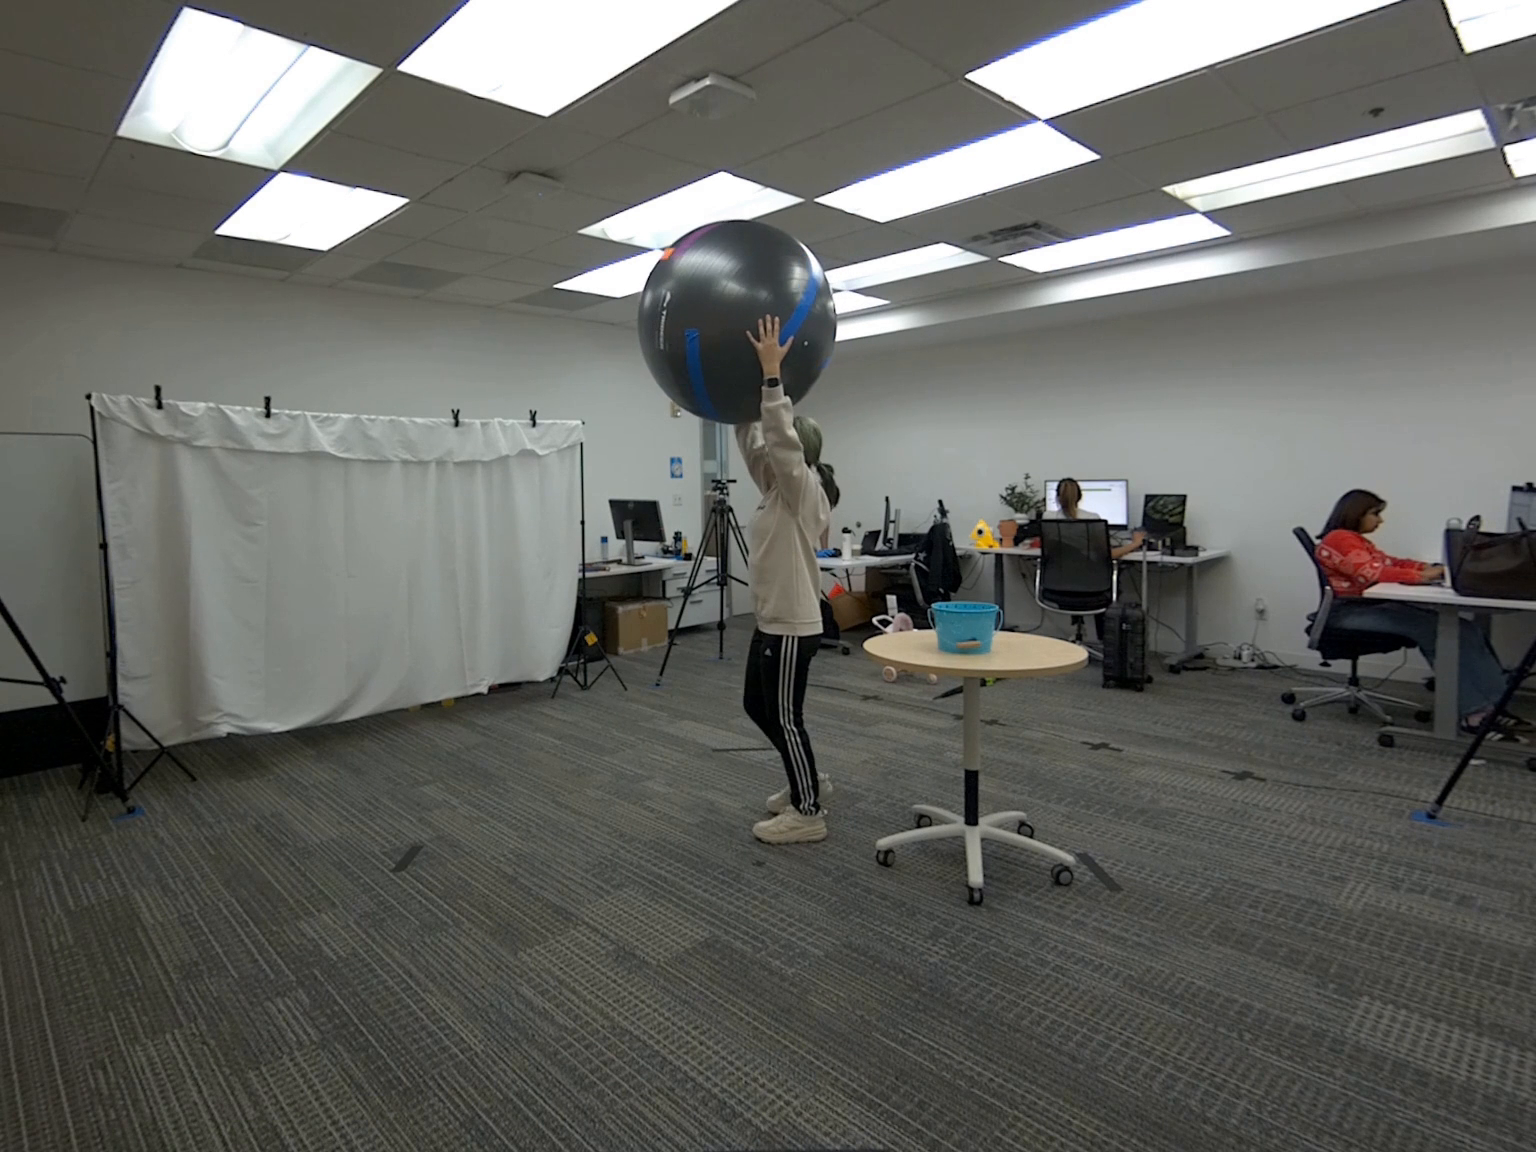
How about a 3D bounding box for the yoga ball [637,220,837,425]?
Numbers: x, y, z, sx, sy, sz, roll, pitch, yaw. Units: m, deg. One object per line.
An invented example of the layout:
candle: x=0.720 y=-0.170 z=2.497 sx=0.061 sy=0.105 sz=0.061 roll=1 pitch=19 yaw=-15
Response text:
yoga ball: x=-0.120 y=-0.960 z=3.259 sx=0.757 sy=0.755 sz=0.762 roll=-1 pitch=5 yaw=-2
